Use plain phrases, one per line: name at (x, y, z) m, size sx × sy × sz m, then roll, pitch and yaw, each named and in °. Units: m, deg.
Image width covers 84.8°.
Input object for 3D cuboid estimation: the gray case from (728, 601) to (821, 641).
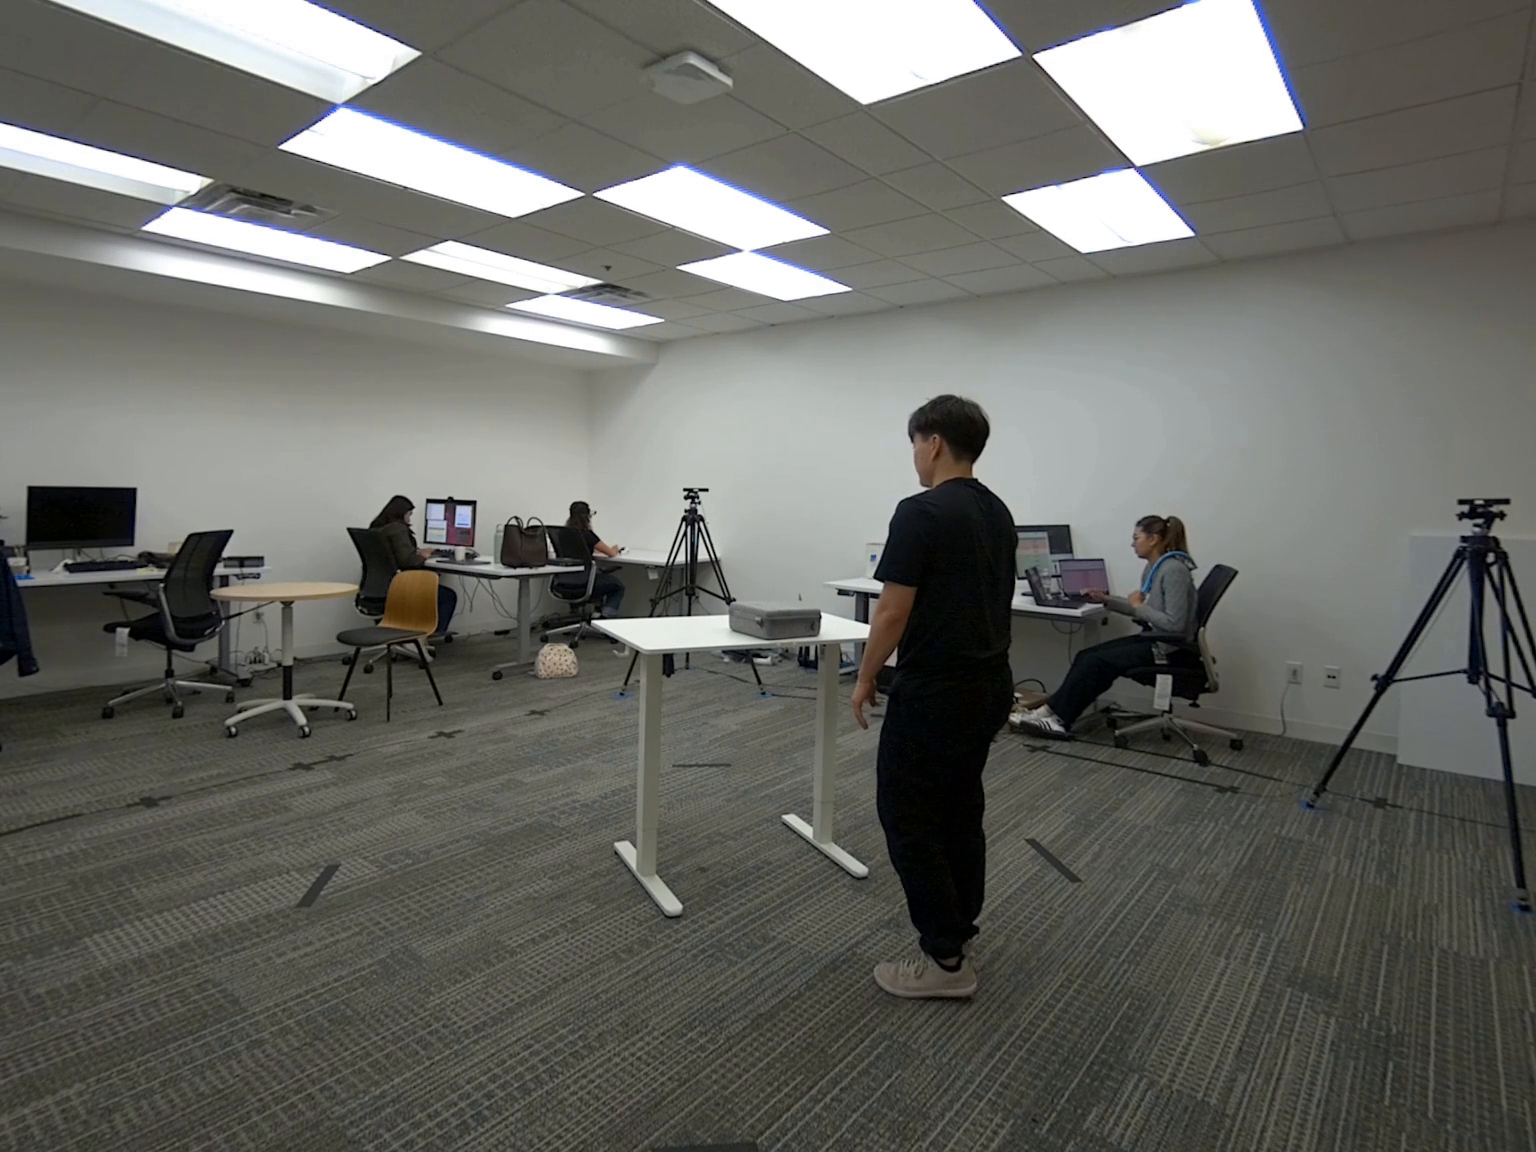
gray case at (0.017, 0.148, 3.030) m, size 0.253 × 0.104 × 0.265 m, roll -1°, pitch 5°, yaw -36°
